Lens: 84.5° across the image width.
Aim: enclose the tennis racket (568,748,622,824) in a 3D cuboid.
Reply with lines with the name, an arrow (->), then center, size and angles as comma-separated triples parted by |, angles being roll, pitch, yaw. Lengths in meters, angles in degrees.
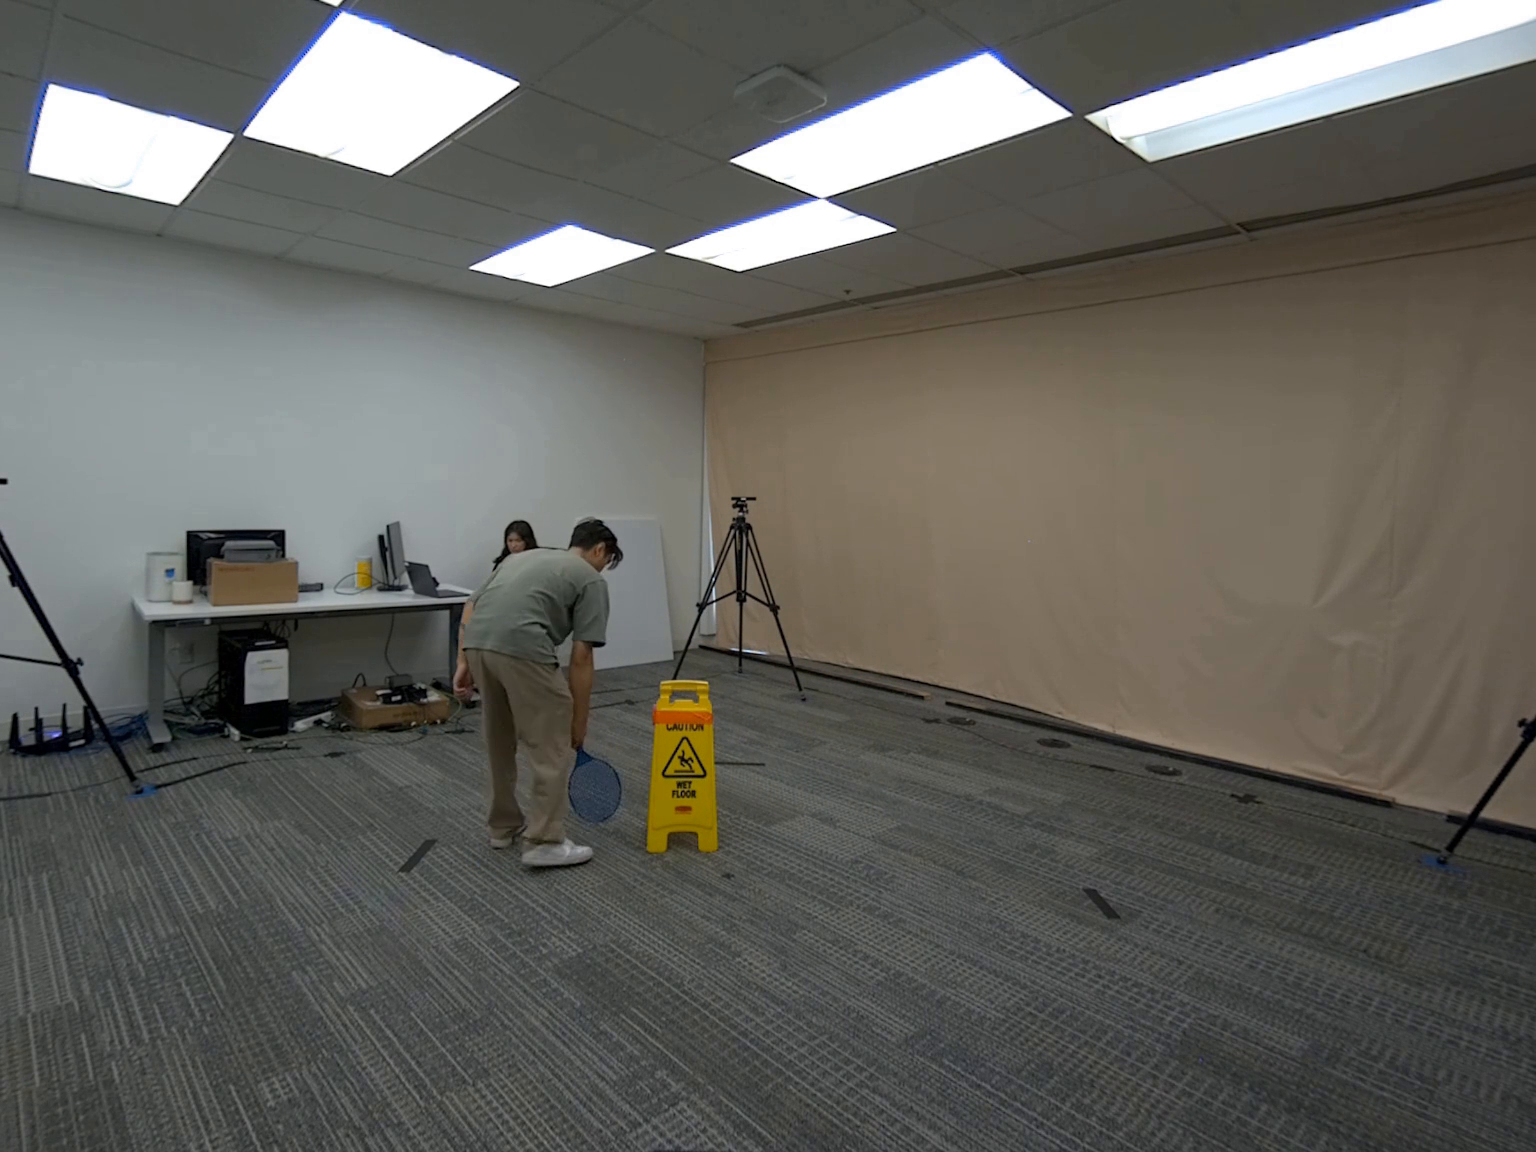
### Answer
tennis racket -> -0.744, 0.797, 3.361 | 0.211, 0.429, 0.032 | -23, 10, -24
